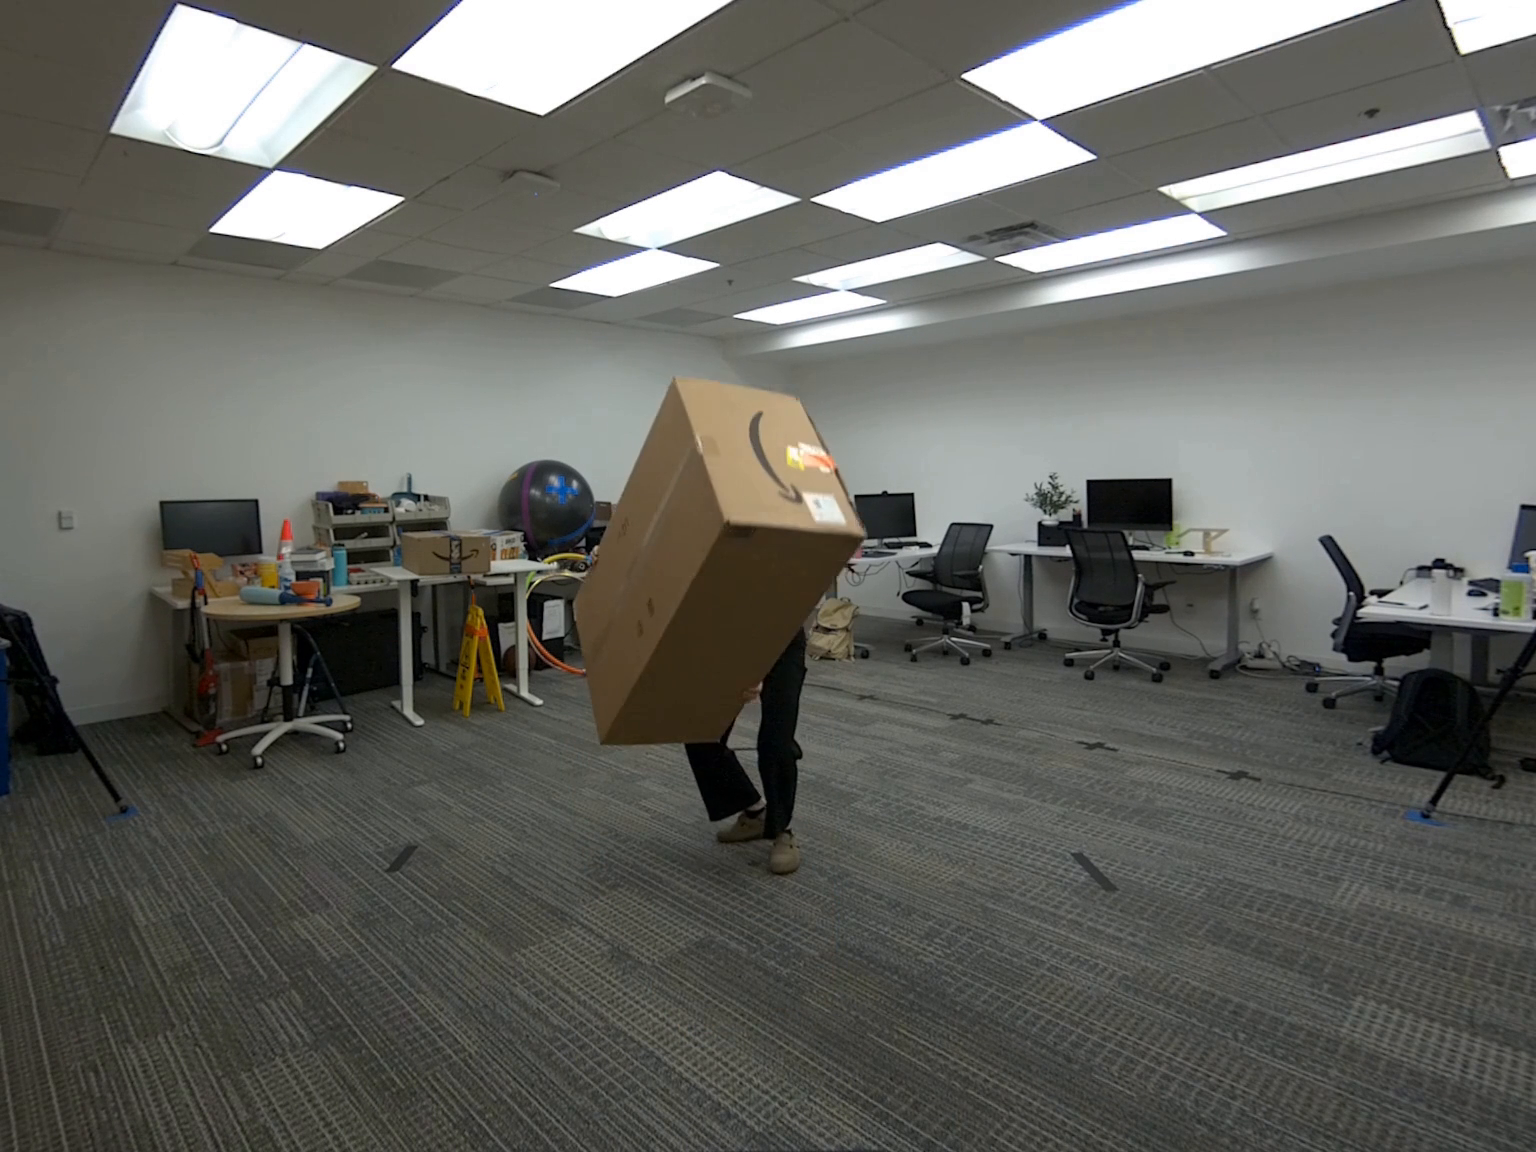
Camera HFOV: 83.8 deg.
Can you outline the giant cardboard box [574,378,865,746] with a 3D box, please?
[{"bbox_3d":[-0.212,0.011,2.626,0.415,0.598,1.018,5,-43,-30],"label":"giant cardboard box"}]
